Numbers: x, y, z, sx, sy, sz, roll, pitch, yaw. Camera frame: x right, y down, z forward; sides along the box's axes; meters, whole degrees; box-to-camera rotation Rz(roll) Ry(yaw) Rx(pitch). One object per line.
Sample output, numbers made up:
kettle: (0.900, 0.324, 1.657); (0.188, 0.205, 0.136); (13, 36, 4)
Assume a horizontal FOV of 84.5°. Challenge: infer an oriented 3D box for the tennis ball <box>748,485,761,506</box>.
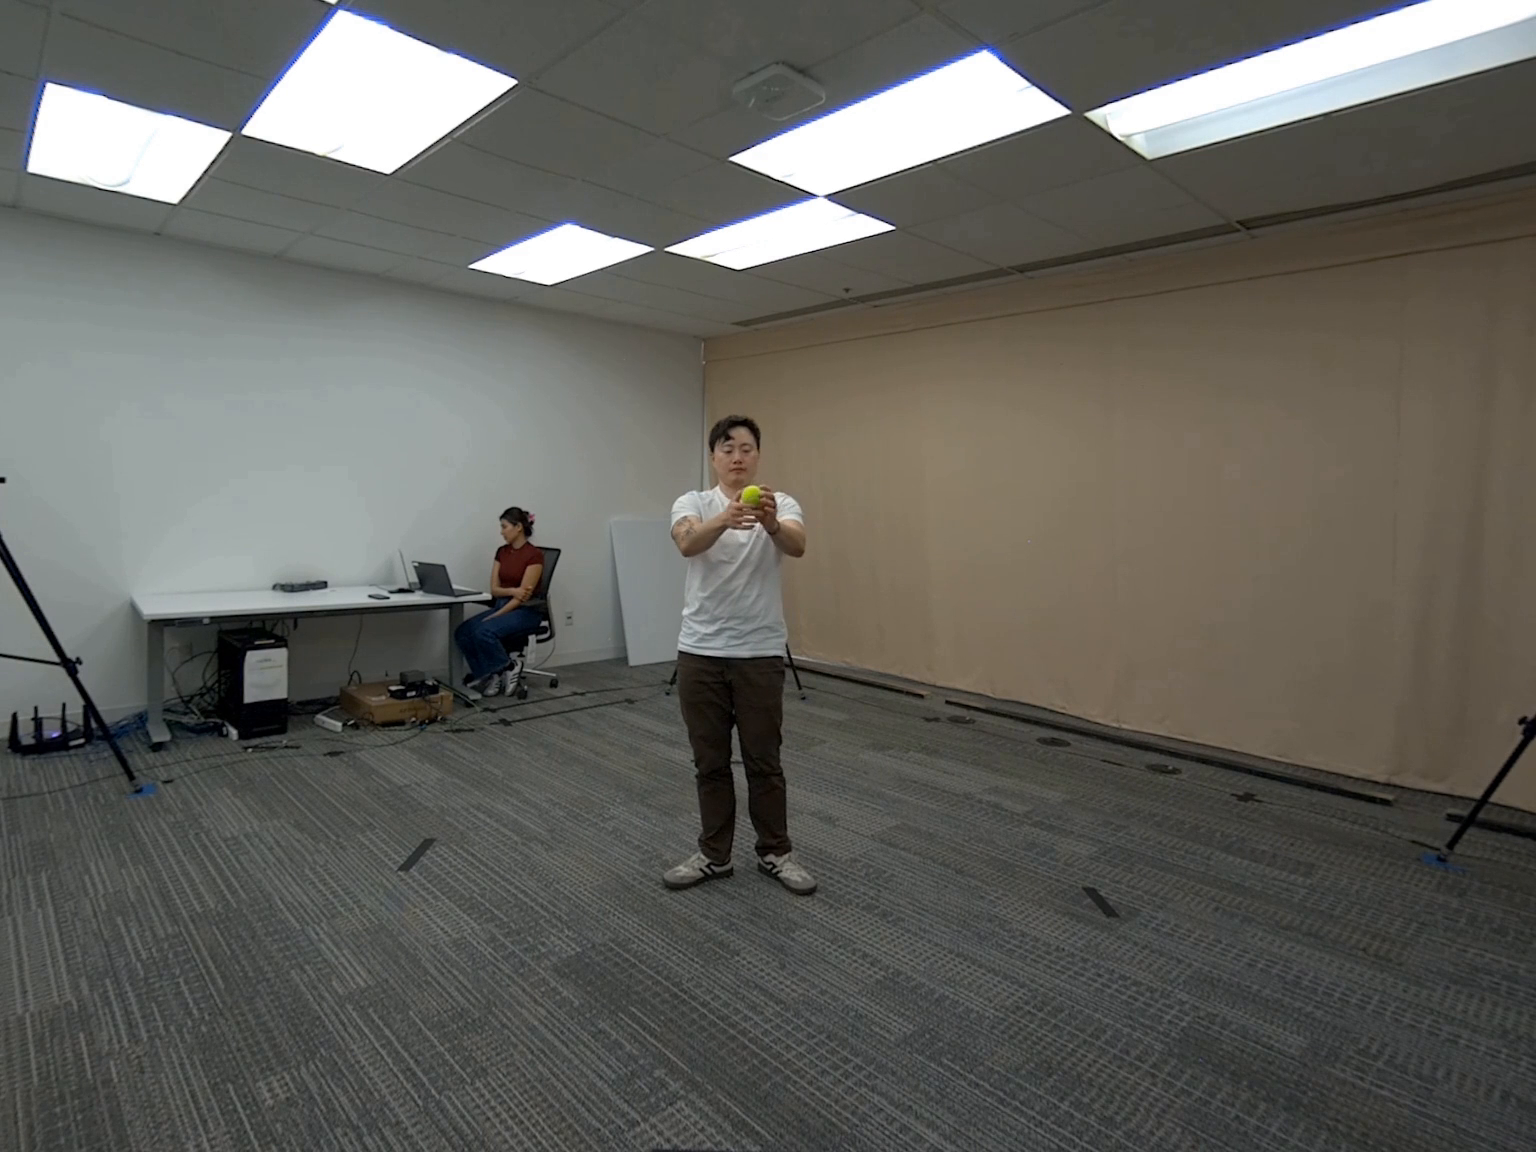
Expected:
tennis ball: (0.002, -0.230, 2.540); (0.066, 0.066, 0.067); (1, 4, -1)
